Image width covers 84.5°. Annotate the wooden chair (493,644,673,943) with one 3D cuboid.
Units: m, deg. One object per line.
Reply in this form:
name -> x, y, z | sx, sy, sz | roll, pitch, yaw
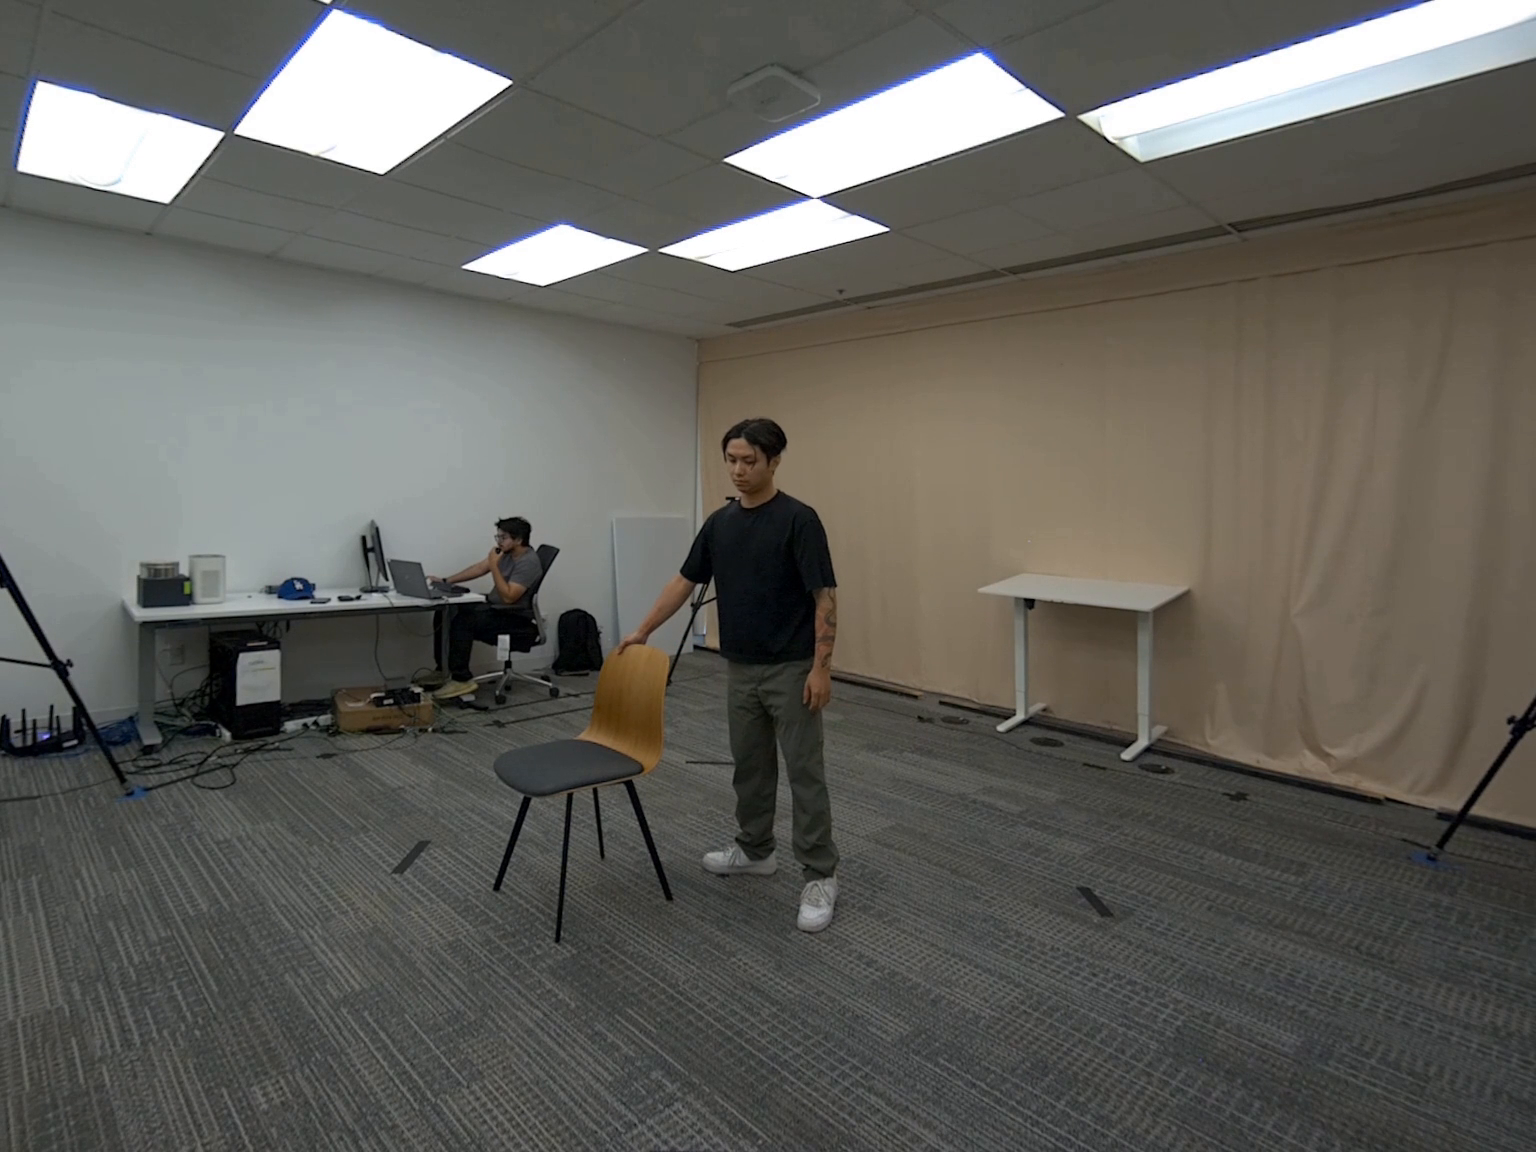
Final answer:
wooden chair -> -0.644, 0.685, 2.889 | 0.510, 0.877, 0.490 | 4, 1, -43
